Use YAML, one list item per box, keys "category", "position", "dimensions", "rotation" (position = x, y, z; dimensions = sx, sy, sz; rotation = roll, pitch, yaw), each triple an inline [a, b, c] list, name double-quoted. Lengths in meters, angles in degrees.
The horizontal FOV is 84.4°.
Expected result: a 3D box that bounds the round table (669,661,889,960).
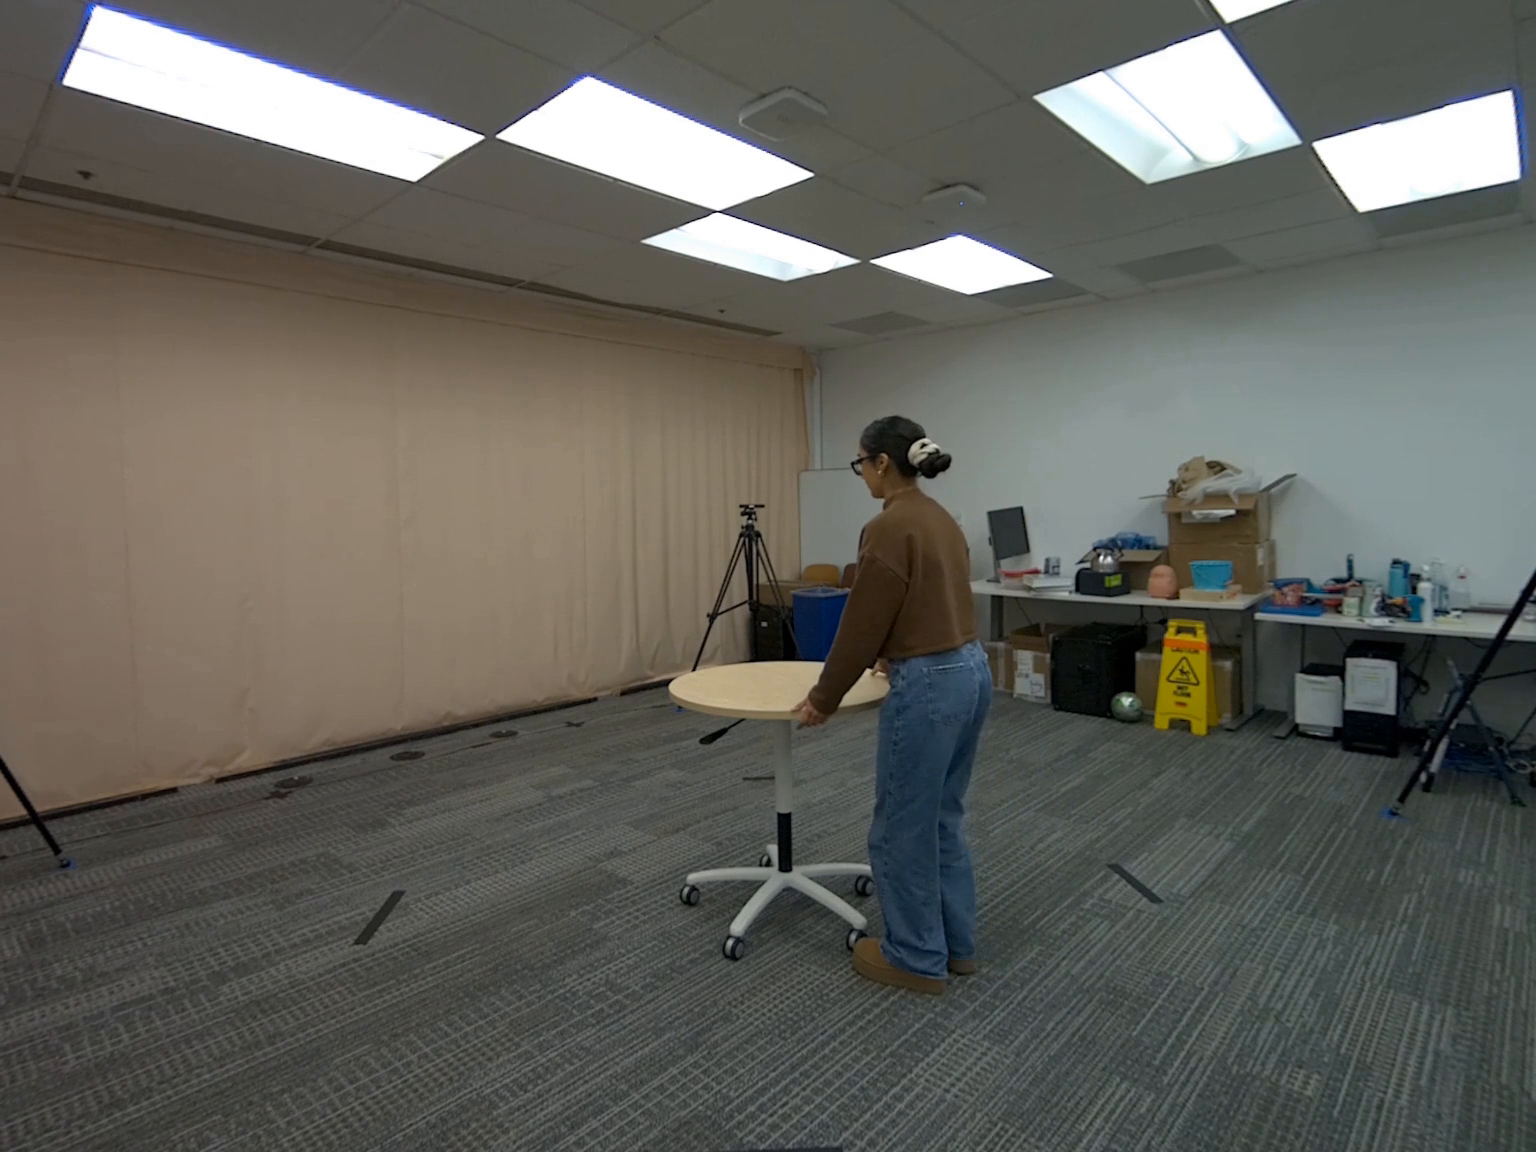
- category: "round table"
  position: [0.058, 0.756, 2.873]
  dimensions: [0.763, 0.792, 0.767]
  rotation: [-1, 4, -2]
